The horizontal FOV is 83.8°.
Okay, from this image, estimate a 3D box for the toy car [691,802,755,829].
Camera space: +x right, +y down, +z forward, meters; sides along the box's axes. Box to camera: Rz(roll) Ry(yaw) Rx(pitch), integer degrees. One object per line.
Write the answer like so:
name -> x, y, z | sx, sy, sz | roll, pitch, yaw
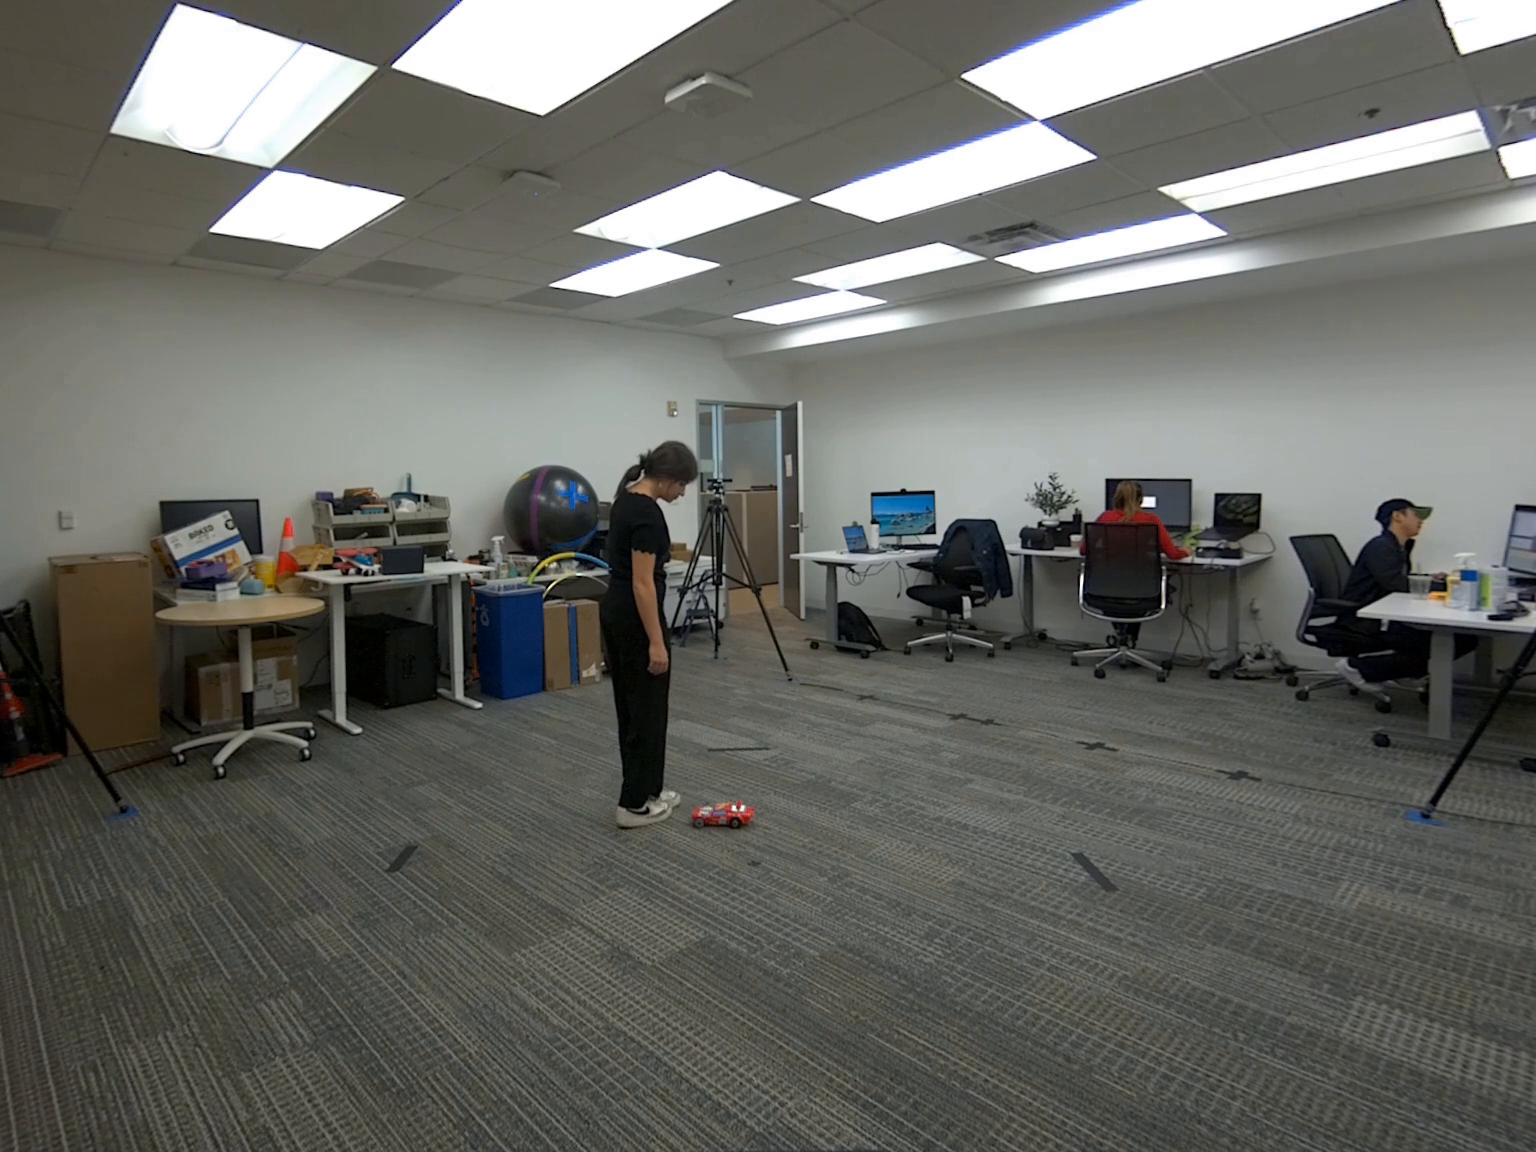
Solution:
toy car -> -0.180, 0.971, 3.471 | 0.256, 0.083, 0.130 | -13, 5, 6
